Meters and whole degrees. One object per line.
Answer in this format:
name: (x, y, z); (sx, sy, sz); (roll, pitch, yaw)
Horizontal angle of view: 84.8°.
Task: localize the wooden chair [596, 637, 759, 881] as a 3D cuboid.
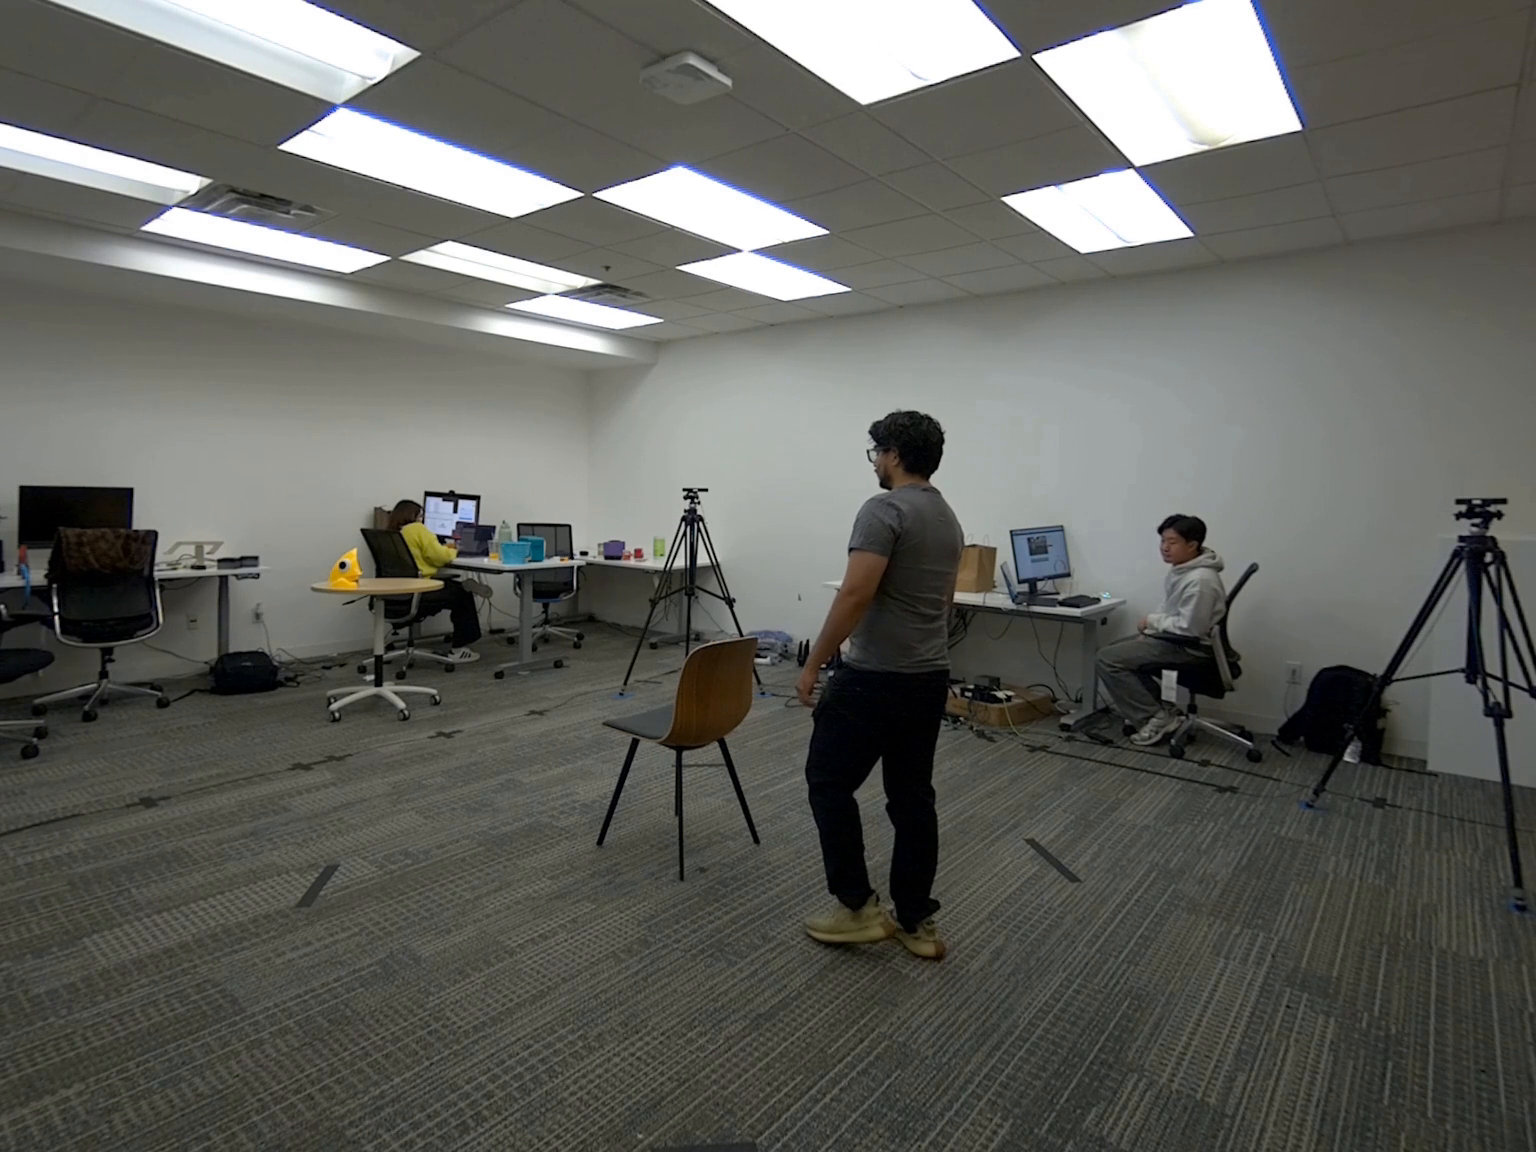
wooden chair: (-0.358, 0.620, 3.300); (0.542, 0.873, 0.464); (9, 8, 38)
